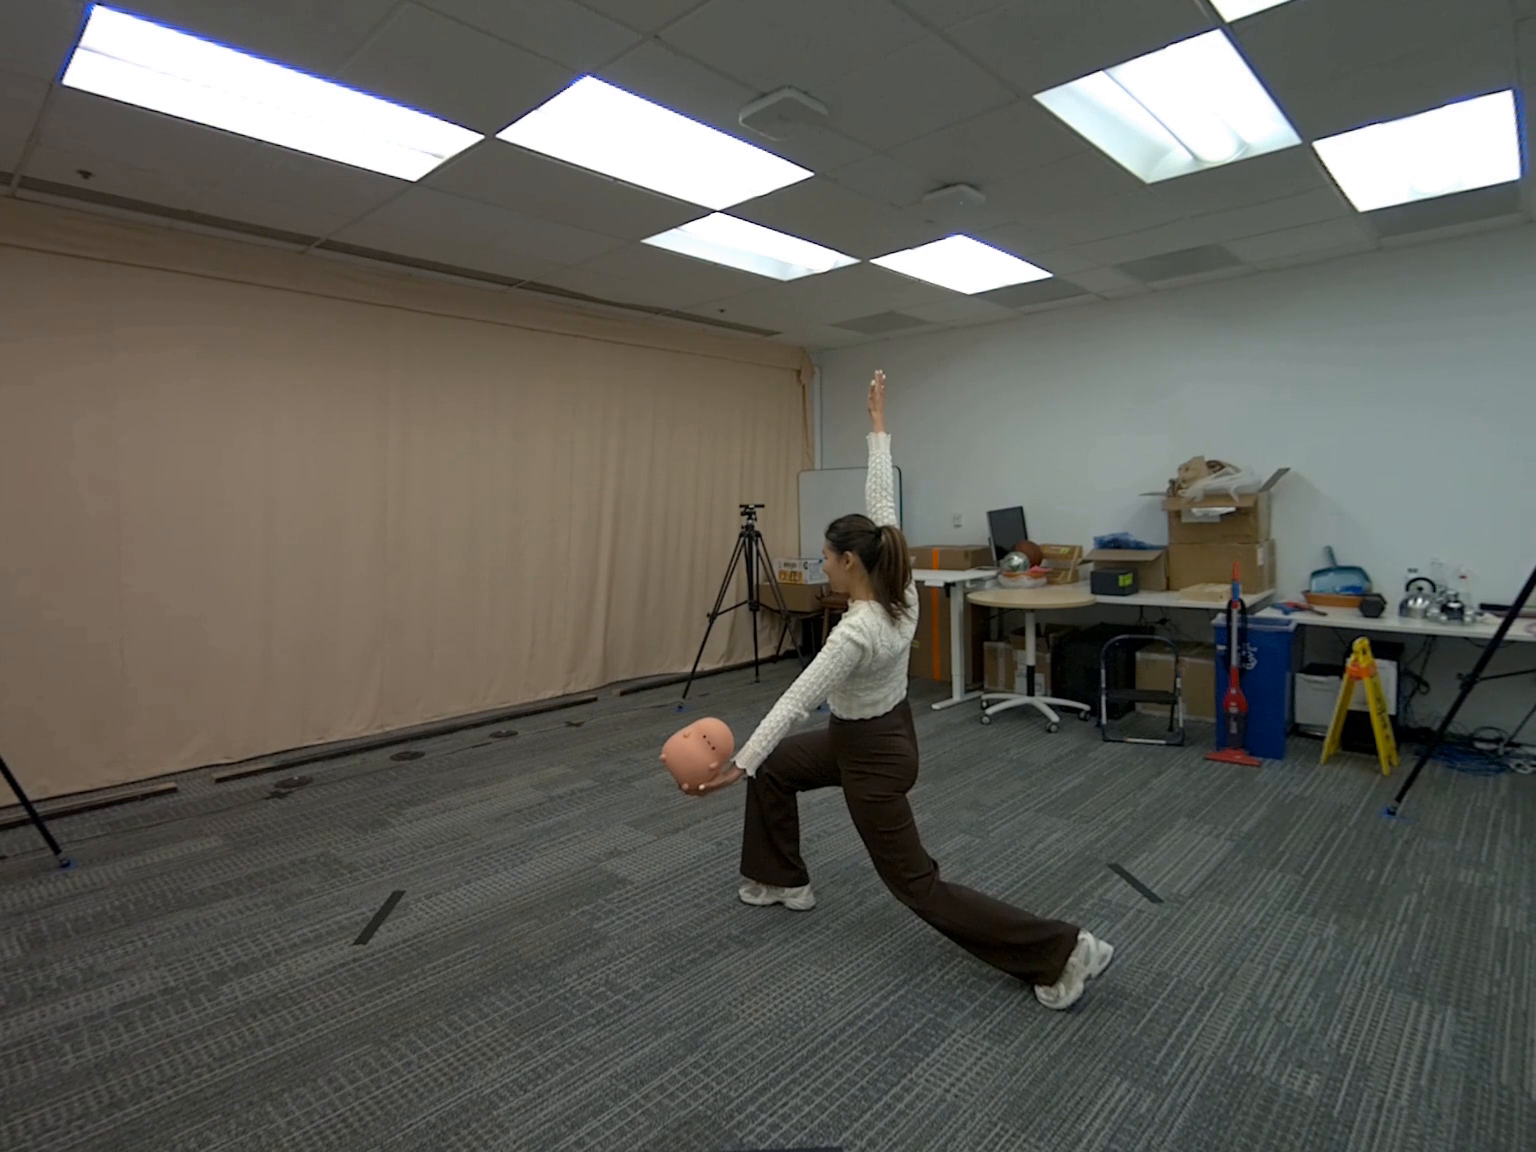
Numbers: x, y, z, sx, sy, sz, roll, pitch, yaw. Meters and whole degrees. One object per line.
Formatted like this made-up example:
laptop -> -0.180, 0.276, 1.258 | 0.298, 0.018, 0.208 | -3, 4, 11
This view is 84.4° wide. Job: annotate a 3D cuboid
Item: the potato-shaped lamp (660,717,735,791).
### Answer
potato-shaped lamp -> -0.184, 0.494, 2.369 | 0.198, 0.167, 0.169 | -40, -12, 1
